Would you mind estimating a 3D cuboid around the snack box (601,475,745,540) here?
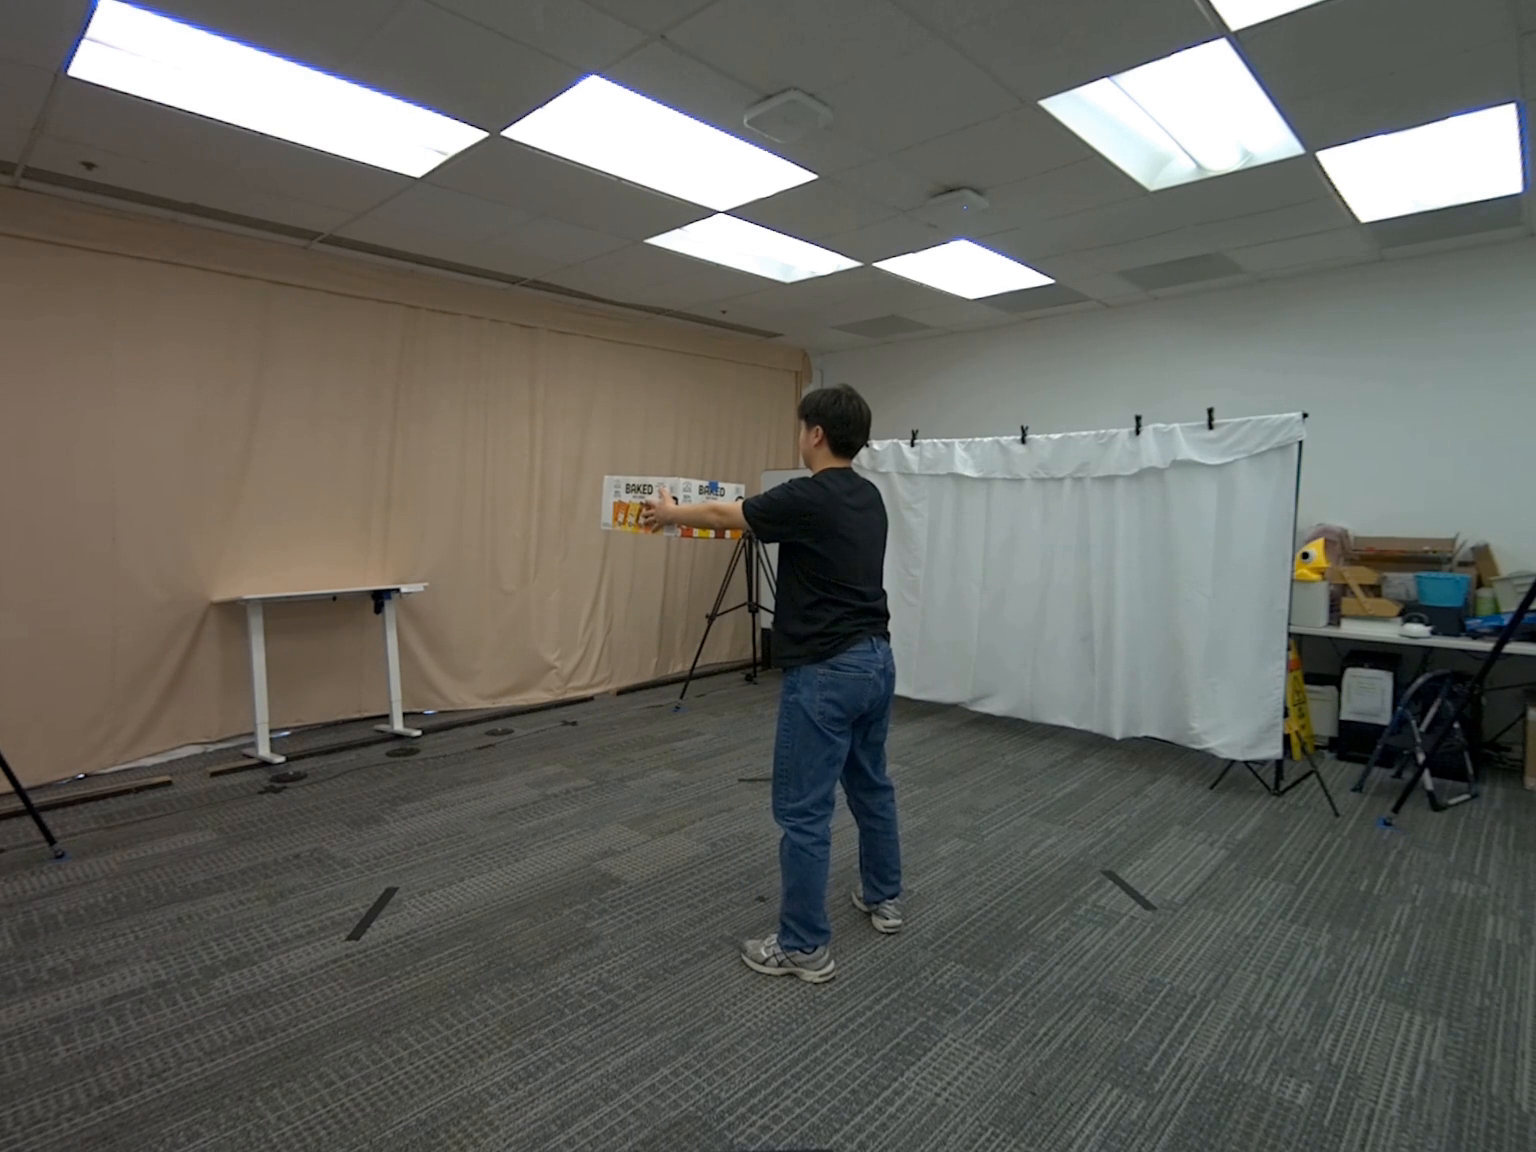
[{"bbox_3d":[-0.354,-0.252,3.129,0.419,0.205,0.329,6,3,41],"label":"snack box"}]
